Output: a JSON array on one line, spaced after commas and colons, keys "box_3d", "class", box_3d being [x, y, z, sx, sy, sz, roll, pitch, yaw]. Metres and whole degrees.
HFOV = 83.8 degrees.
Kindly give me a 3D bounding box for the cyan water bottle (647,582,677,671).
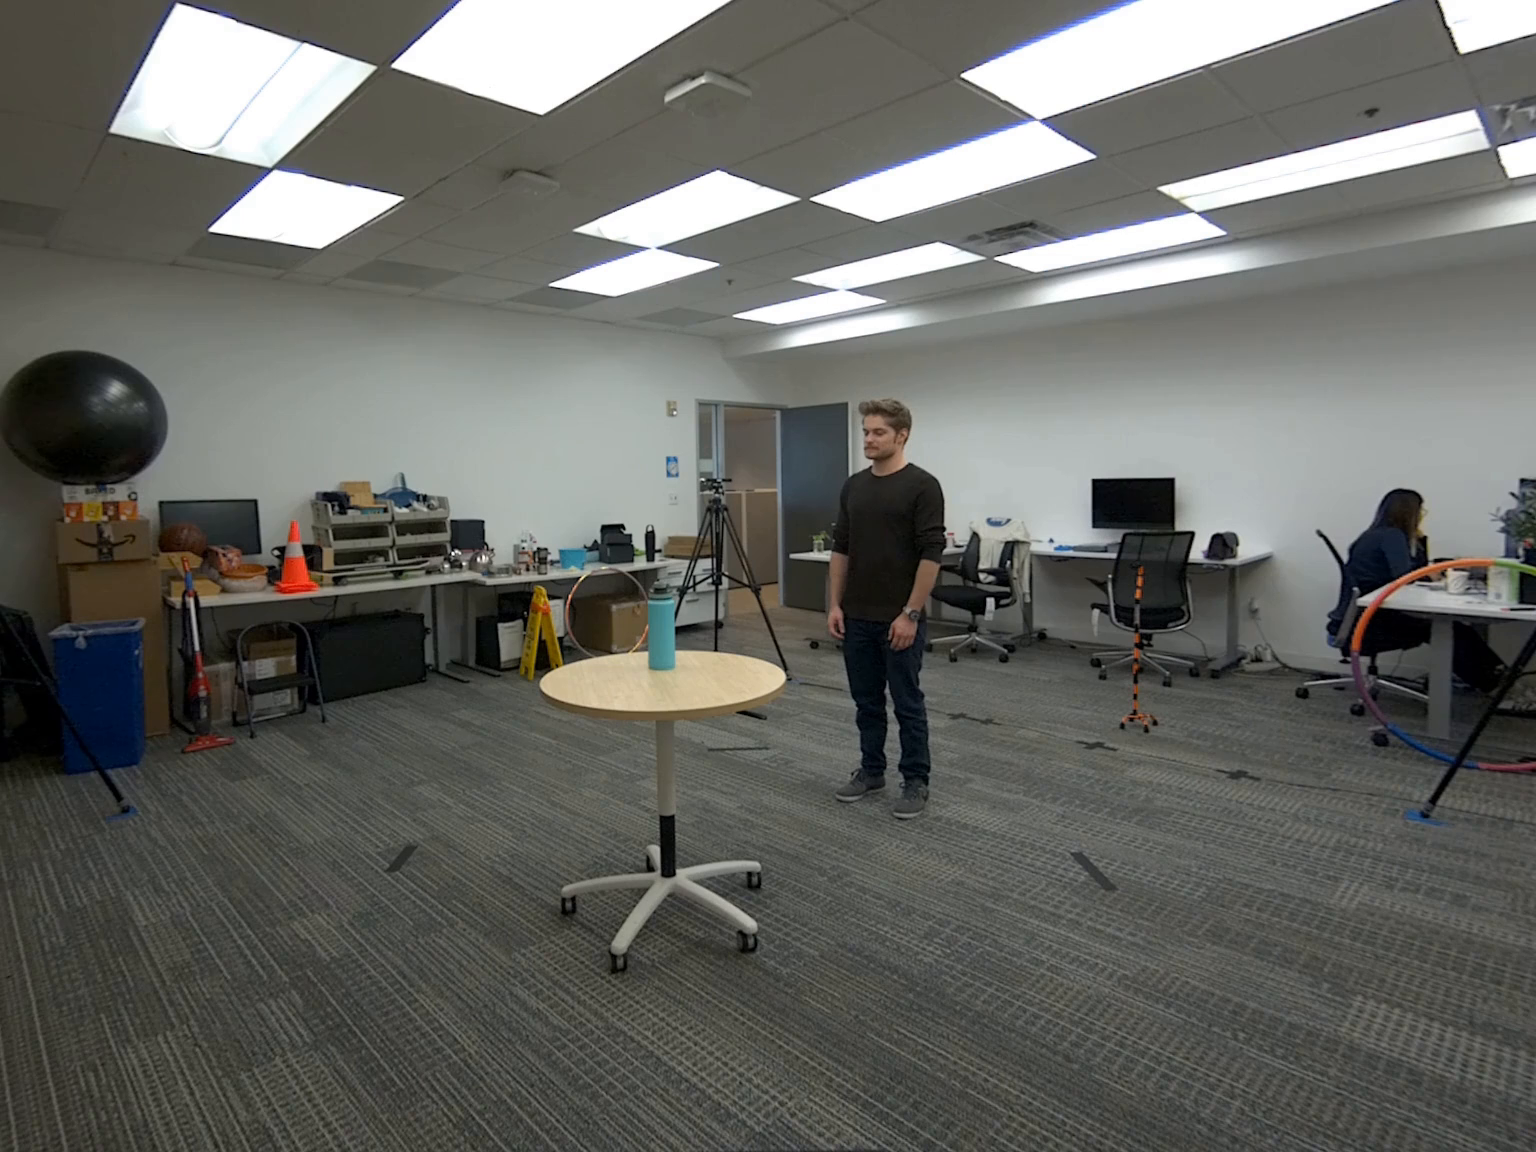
[{"box_3d": [-0.350, 0.163, 2.800, 0.092, 0.283, 0.092, -2, 2, -2], "class": "cyan water bottle"}]
